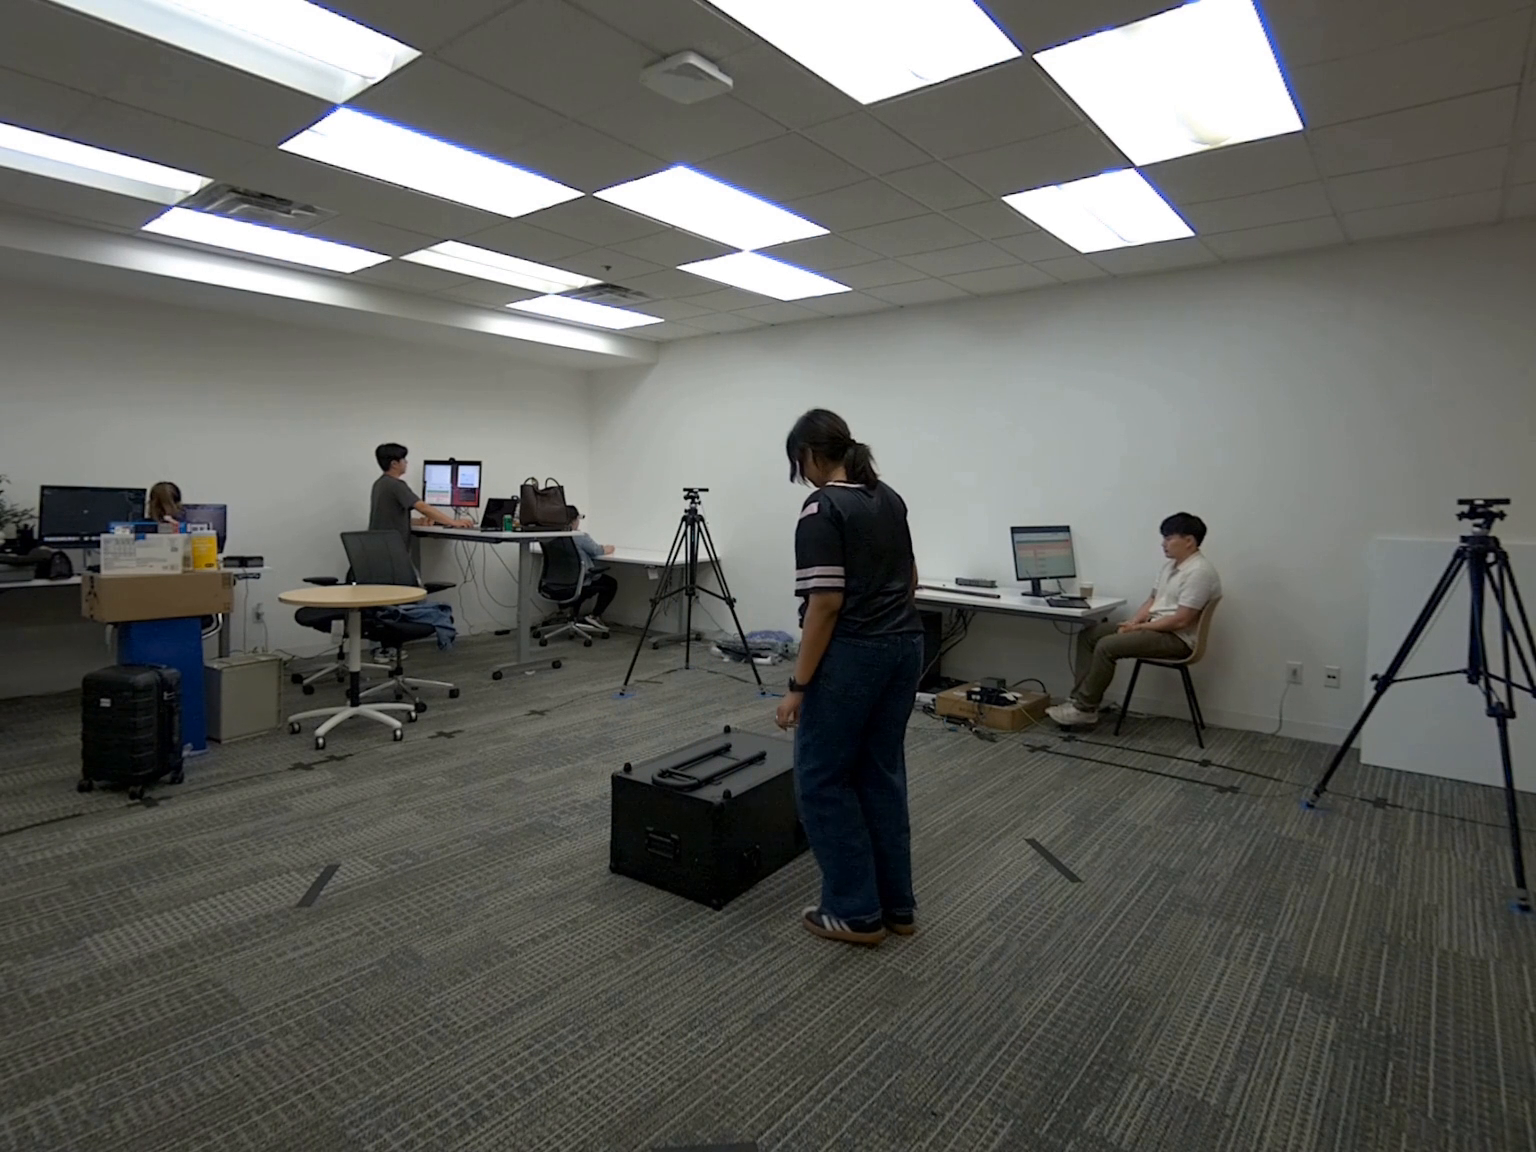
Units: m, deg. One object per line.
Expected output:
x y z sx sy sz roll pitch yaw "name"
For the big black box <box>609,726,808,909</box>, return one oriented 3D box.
-0.159 0.869 3.276 0.539 0.384 0.845 2 5 33 "big black box"
